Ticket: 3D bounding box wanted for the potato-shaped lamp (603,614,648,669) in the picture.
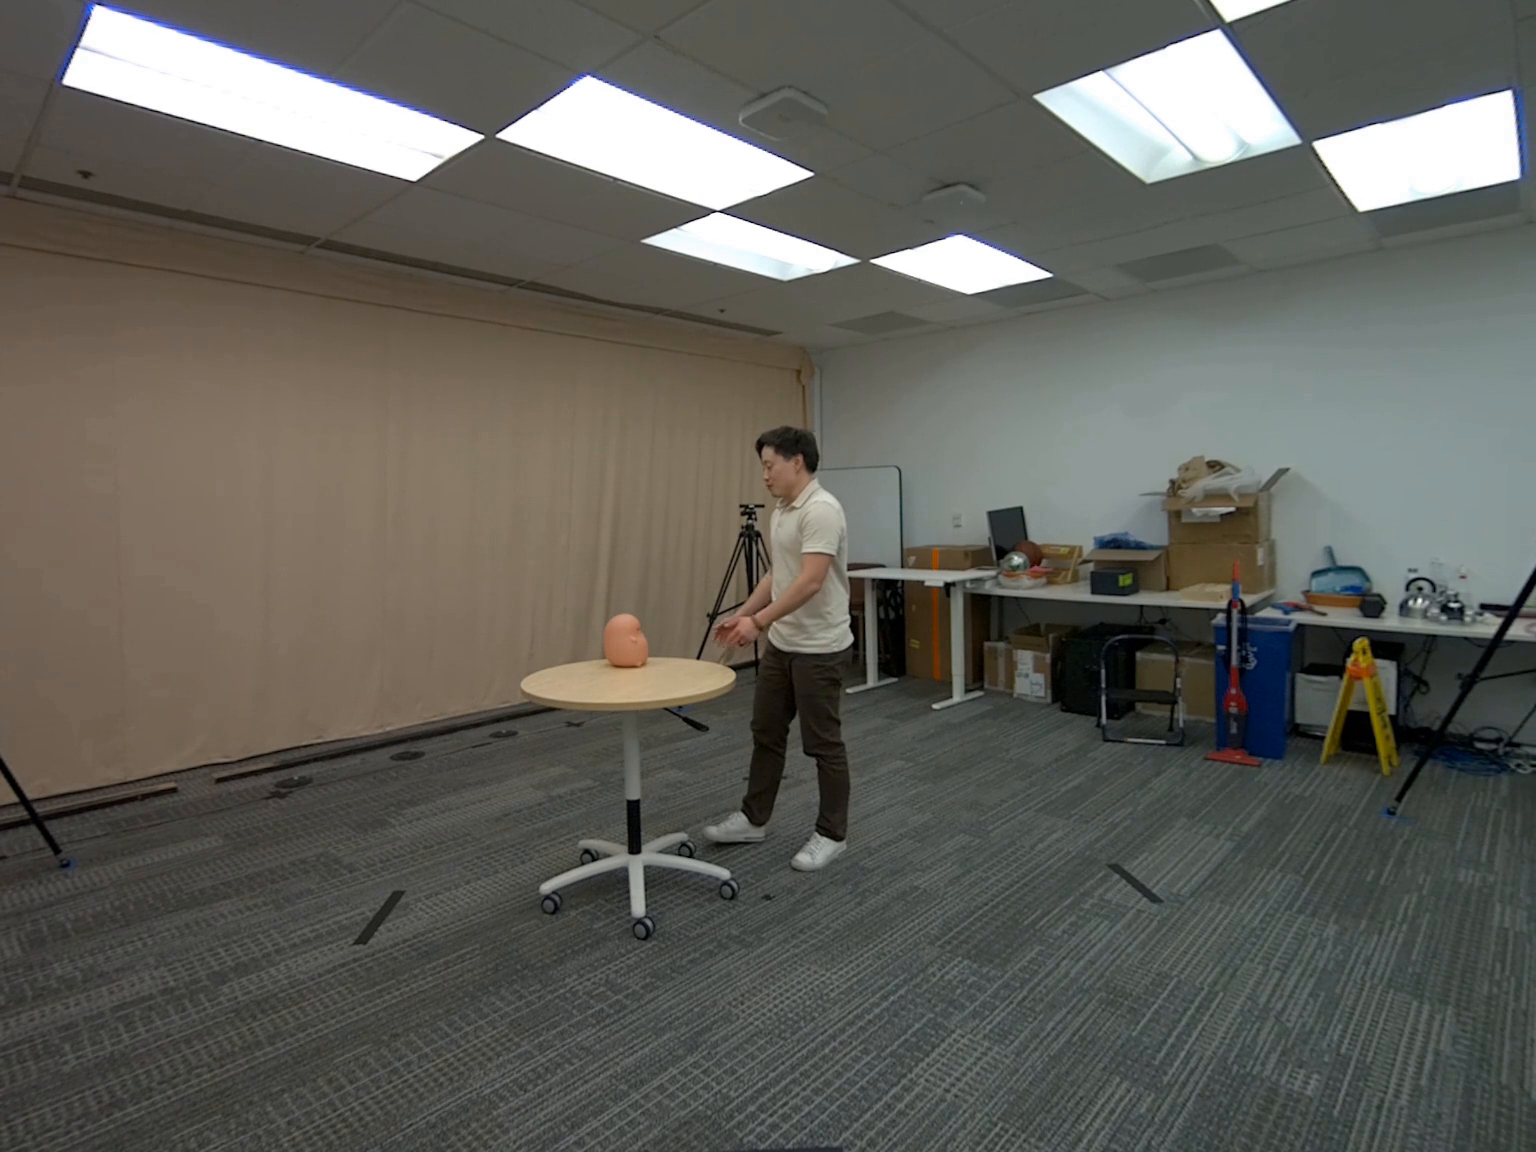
[{"bbox_3d":[-0.547,0.248,3.256,0.173,0.198,0.163,-2,-2,7],"label":"potato-shaped lamp"}]
